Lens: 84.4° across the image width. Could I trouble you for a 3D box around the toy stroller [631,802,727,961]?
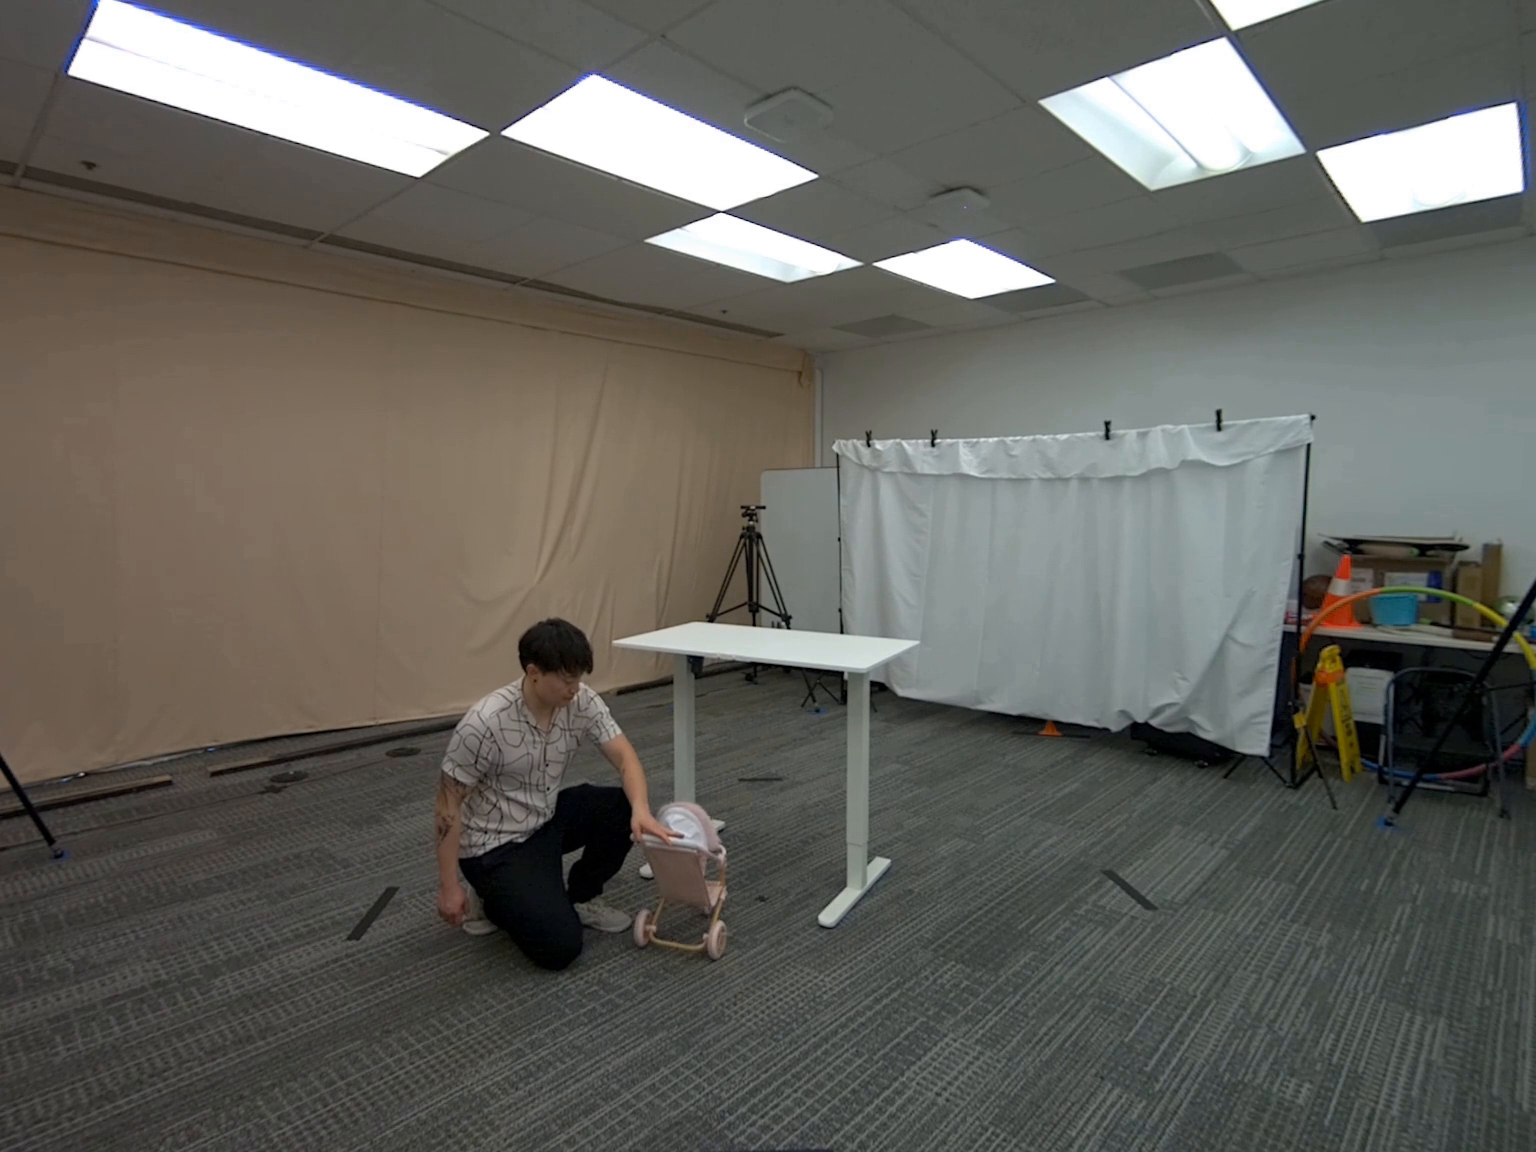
[{"bbox_3d":[-0.252,0.944,2.679,0.288,0.528,0.338,1,19,21],"label":"toy stroller"}]
